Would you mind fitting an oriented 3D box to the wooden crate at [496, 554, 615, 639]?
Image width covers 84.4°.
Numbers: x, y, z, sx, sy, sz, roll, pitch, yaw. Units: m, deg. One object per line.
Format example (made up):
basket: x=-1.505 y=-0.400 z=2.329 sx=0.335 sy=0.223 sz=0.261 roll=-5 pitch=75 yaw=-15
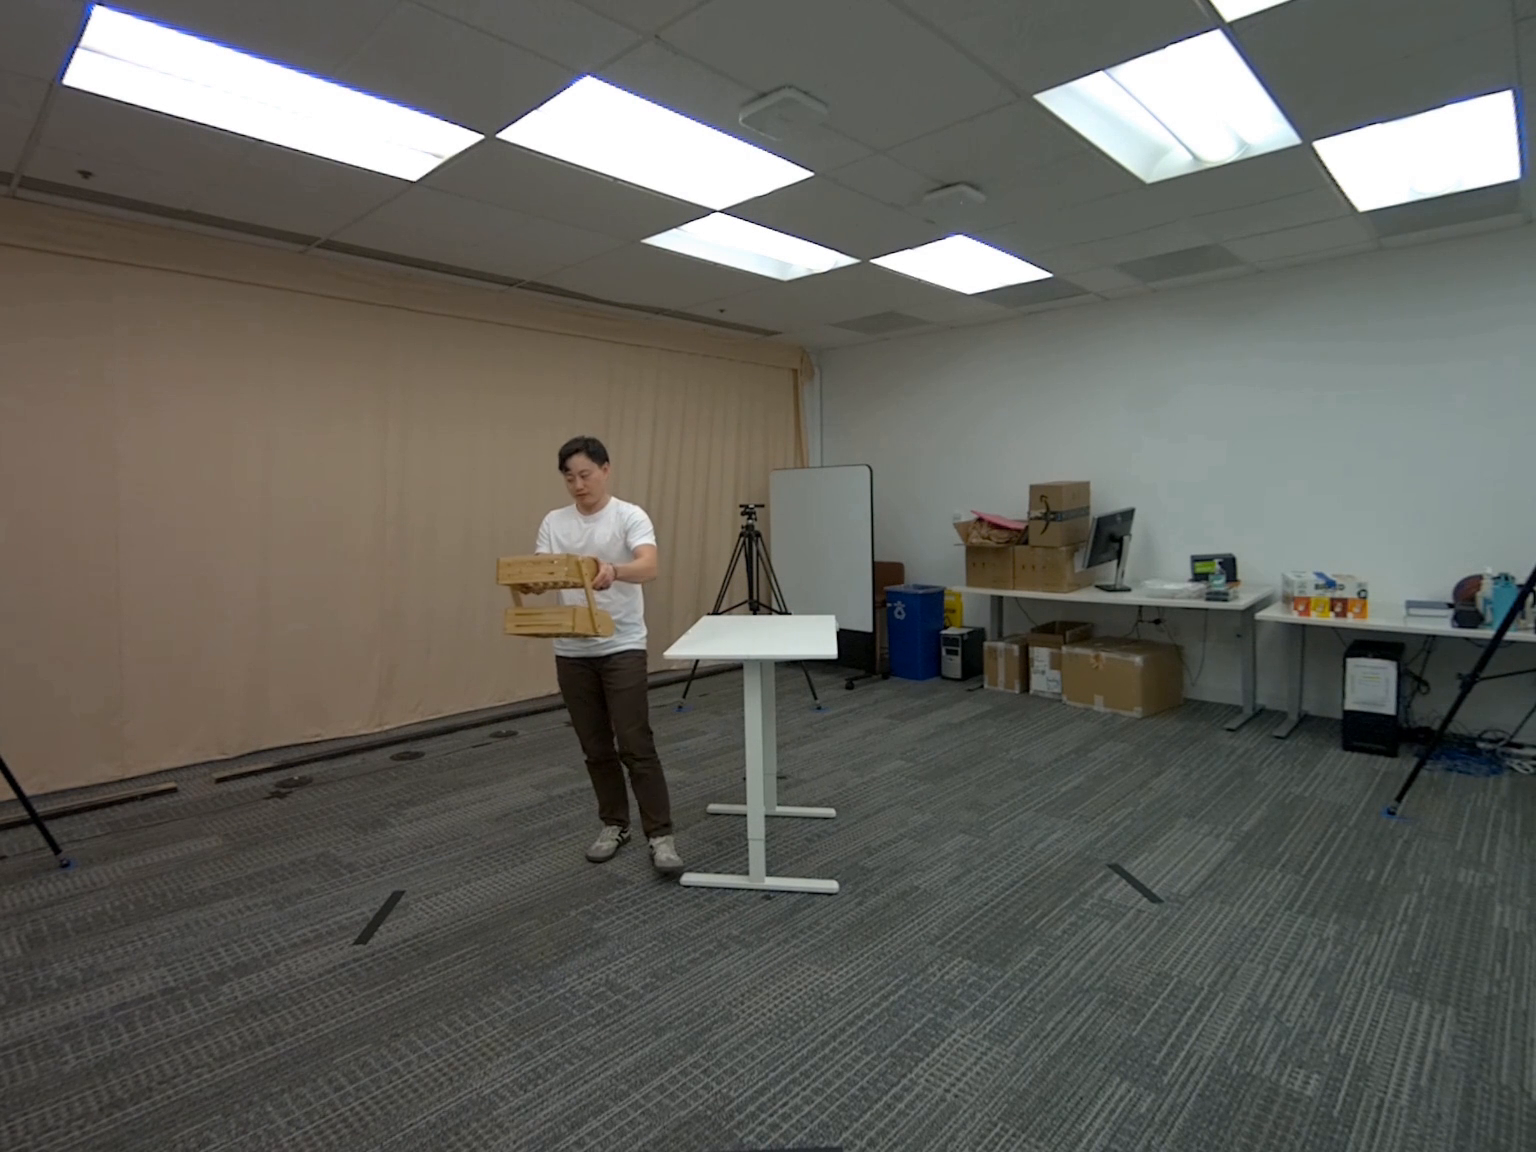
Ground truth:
wooden crate: x=-0.731 y=0.071 z=2.957 sx=0.332 sy=0.274 sz=0.294 roll=-3 pitch=-7 yaw=23
